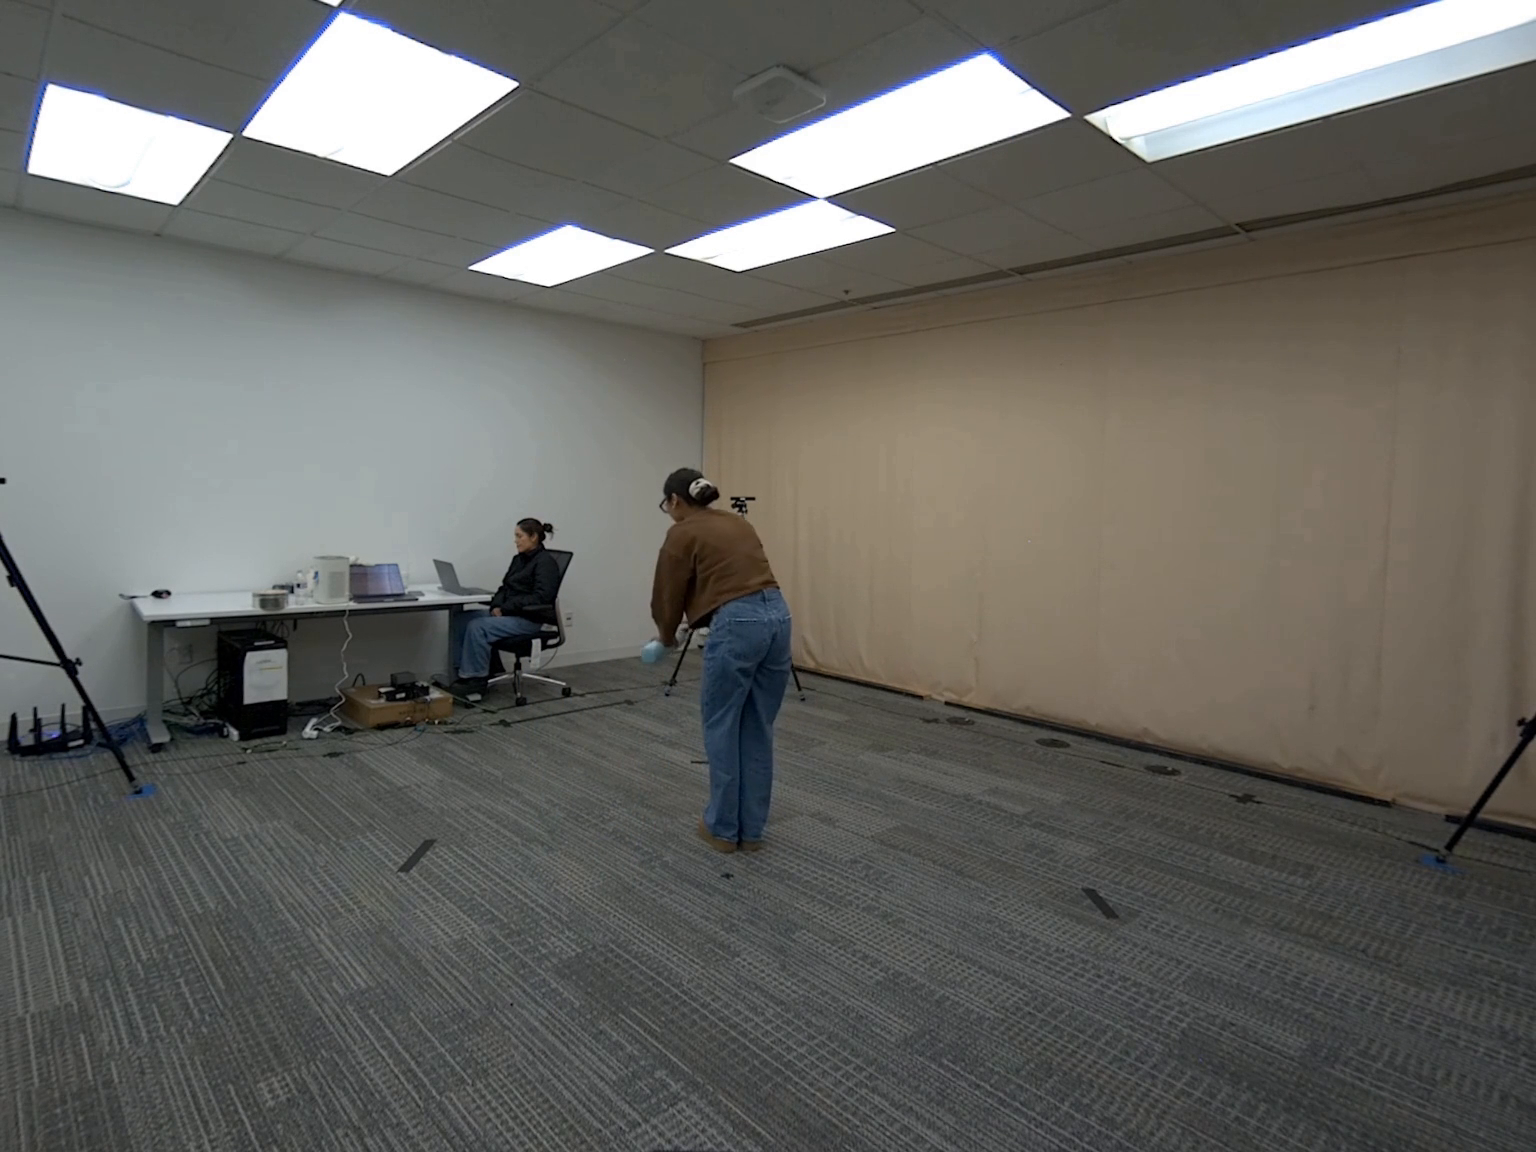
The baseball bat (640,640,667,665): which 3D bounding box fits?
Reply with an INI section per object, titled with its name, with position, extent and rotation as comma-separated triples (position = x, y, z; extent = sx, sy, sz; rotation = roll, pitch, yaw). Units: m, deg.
[baseball bat]
position = -0.402, 0.283, 3.769
extent = 0.090, 0.088, 0.539
rotation = 3, 16, 21
